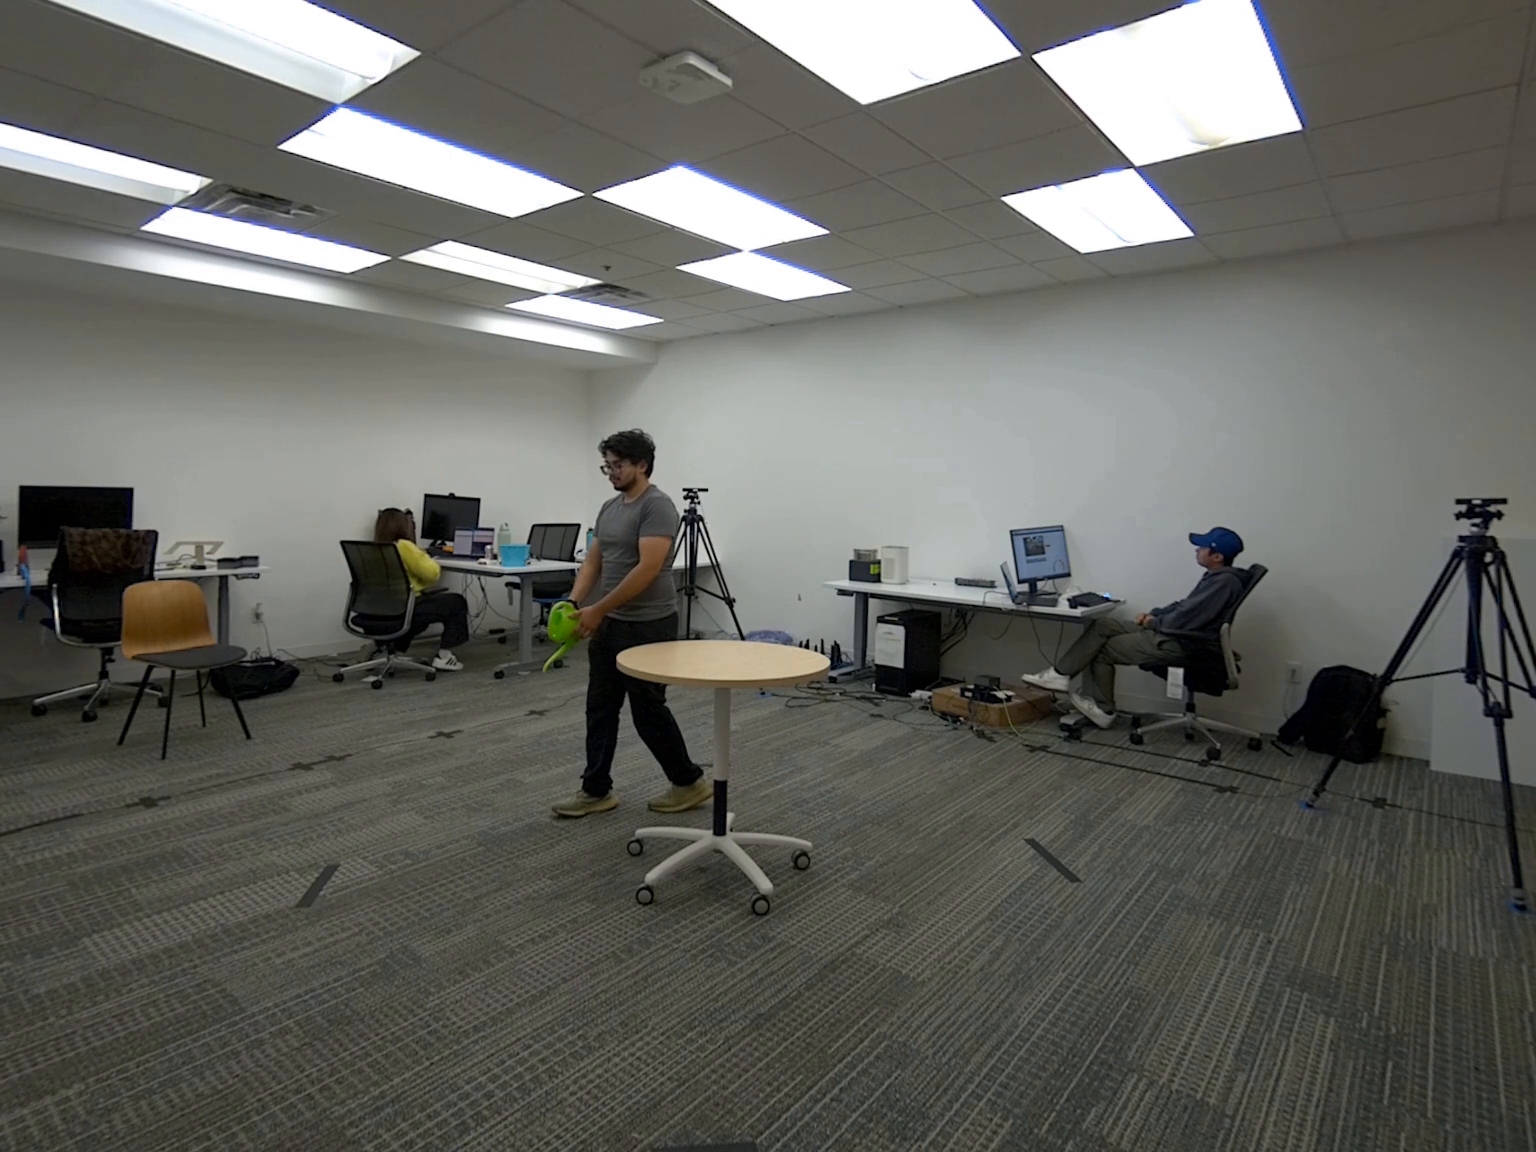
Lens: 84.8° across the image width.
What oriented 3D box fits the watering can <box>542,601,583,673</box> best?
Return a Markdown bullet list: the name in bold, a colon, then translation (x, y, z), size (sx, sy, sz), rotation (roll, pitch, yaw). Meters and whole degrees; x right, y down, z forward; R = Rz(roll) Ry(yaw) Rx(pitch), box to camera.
- **watering can**: translation (-0.839, 0.234, 3.423), size (0.102, 0.277, 0.170), rotation (24, 10, 39)
